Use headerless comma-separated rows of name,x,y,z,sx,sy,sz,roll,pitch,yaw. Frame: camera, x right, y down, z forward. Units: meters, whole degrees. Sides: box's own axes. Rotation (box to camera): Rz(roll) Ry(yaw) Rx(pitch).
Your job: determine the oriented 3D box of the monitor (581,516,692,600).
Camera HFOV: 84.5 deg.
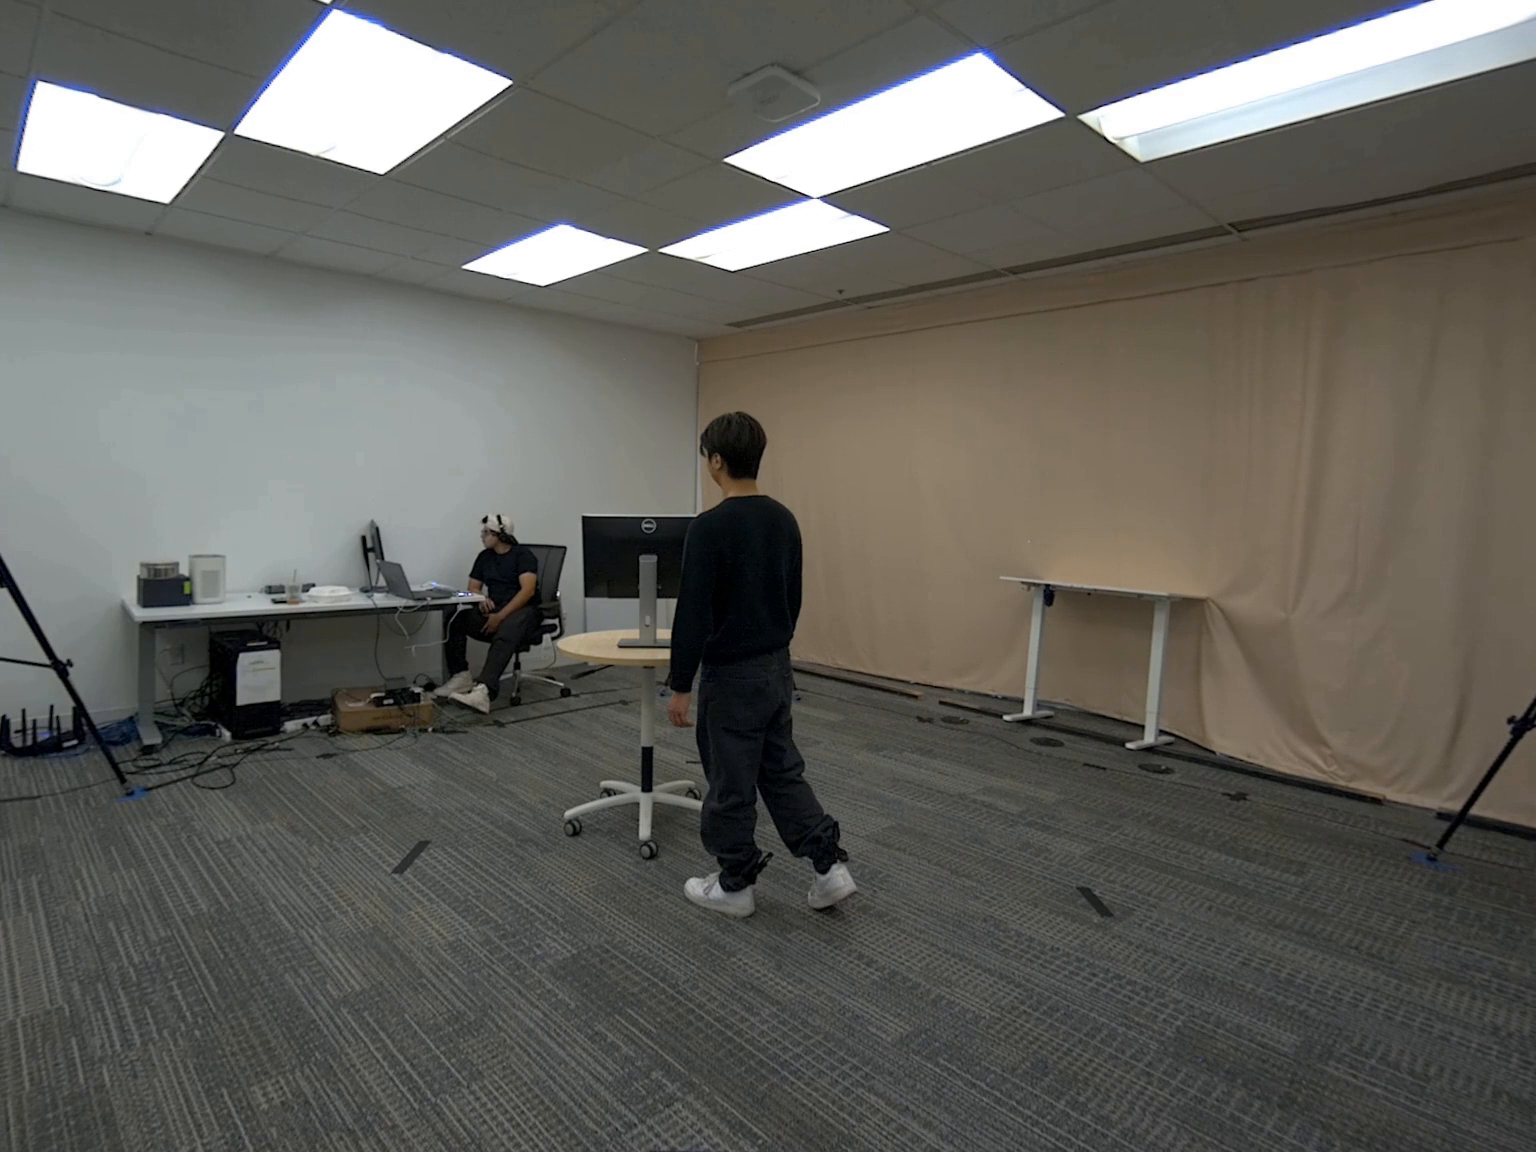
monitor,-0.499,0.018,3.497,0.529,0.516,0.175,0,-1,-2
